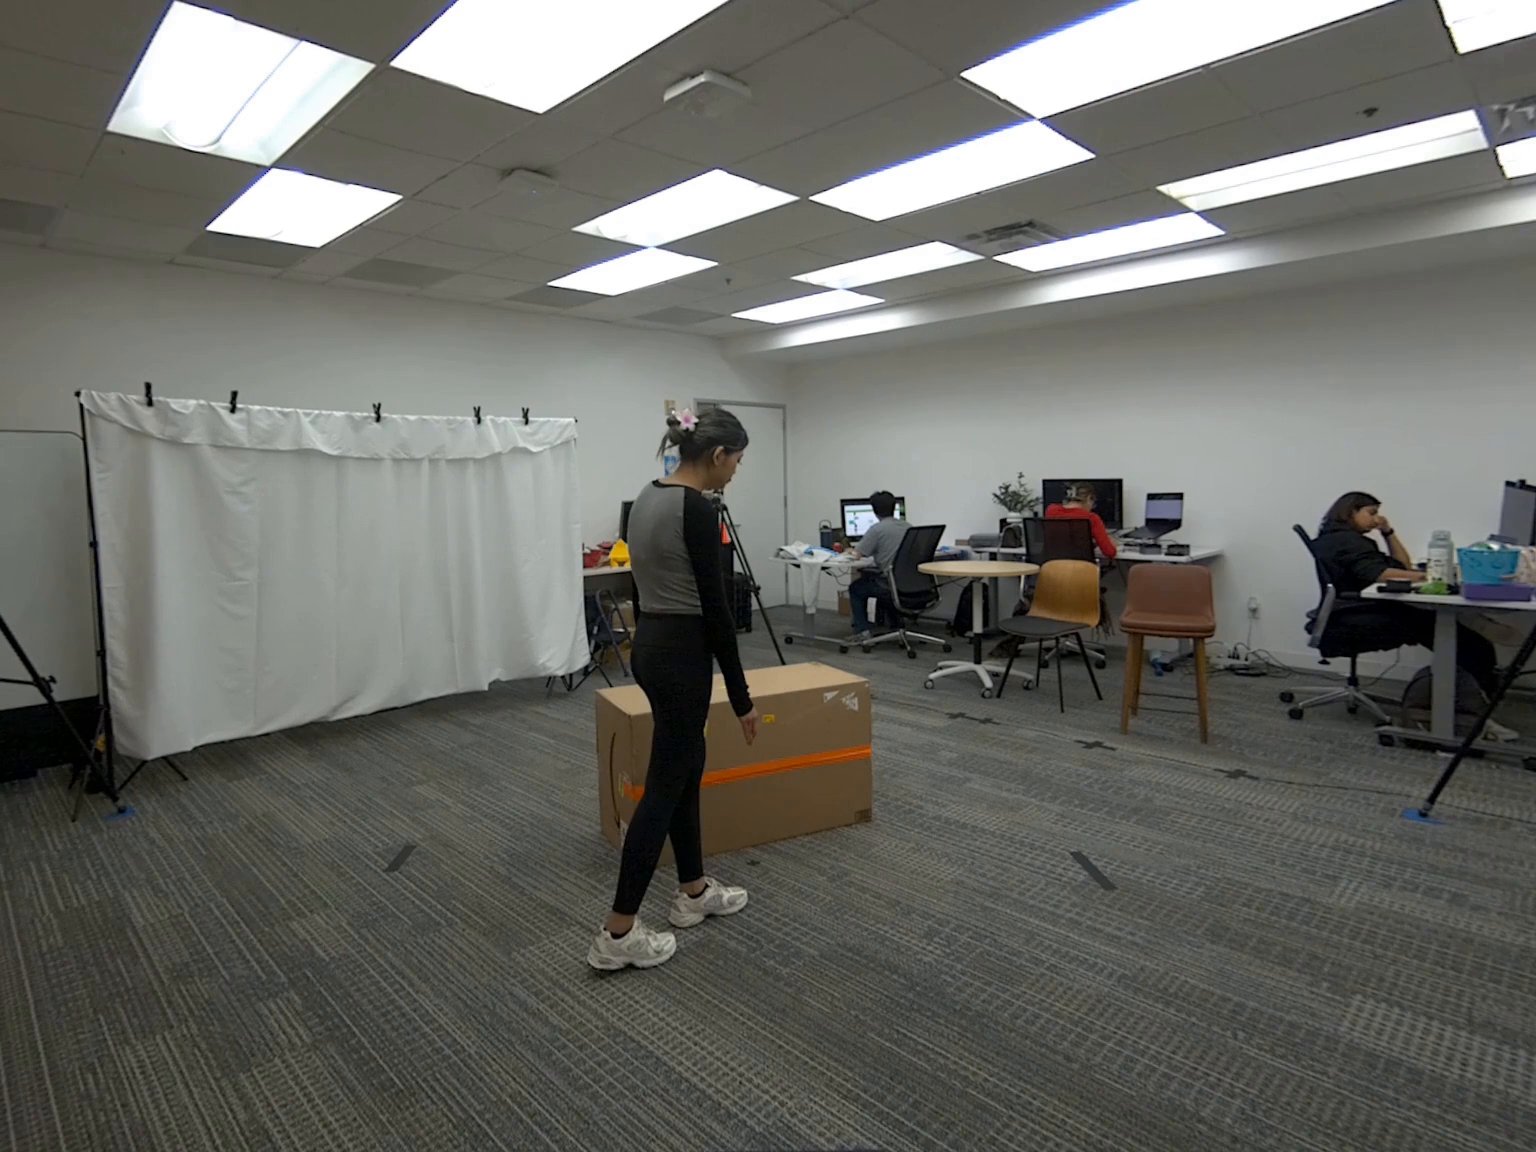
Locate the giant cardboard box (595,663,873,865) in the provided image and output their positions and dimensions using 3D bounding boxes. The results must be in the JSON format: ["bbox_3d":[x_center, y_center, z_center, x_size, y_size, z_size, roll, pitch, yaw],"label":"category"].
[{"bbox_3d":[-0.132,0.719,3.424,1.004,0.575,0.437,-4,5,-25],"label":"giant cardboard box"}]
